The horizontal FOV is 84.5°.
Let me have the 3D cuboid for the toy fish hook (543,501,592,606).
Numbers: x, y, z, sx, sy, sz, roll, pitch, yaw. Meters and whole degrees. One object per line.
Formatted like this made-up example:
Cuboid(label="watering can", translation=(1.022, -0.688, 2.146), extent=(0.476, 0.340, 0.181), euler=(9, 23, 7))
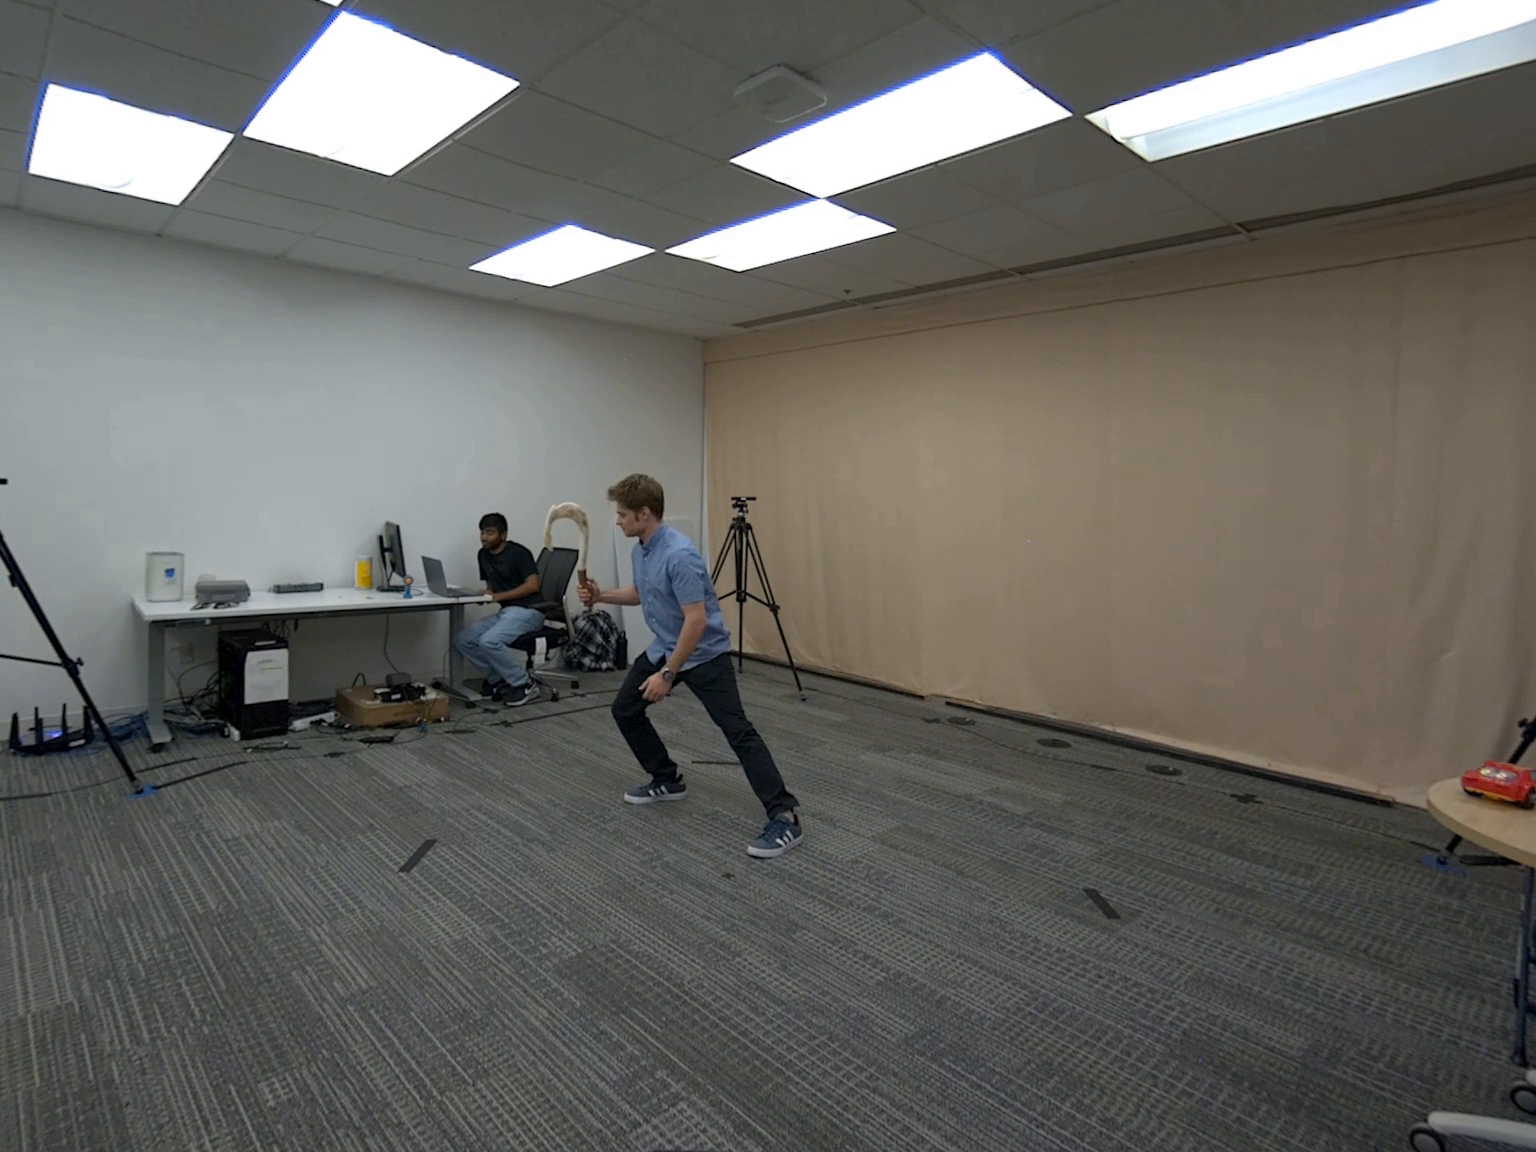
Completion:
Cuboid(label="toy fish hook", translation=(-0.874, -0.076, 3.746), extent=(0.221, 0.502, 0.049), euler=(-15, 12, -34))
